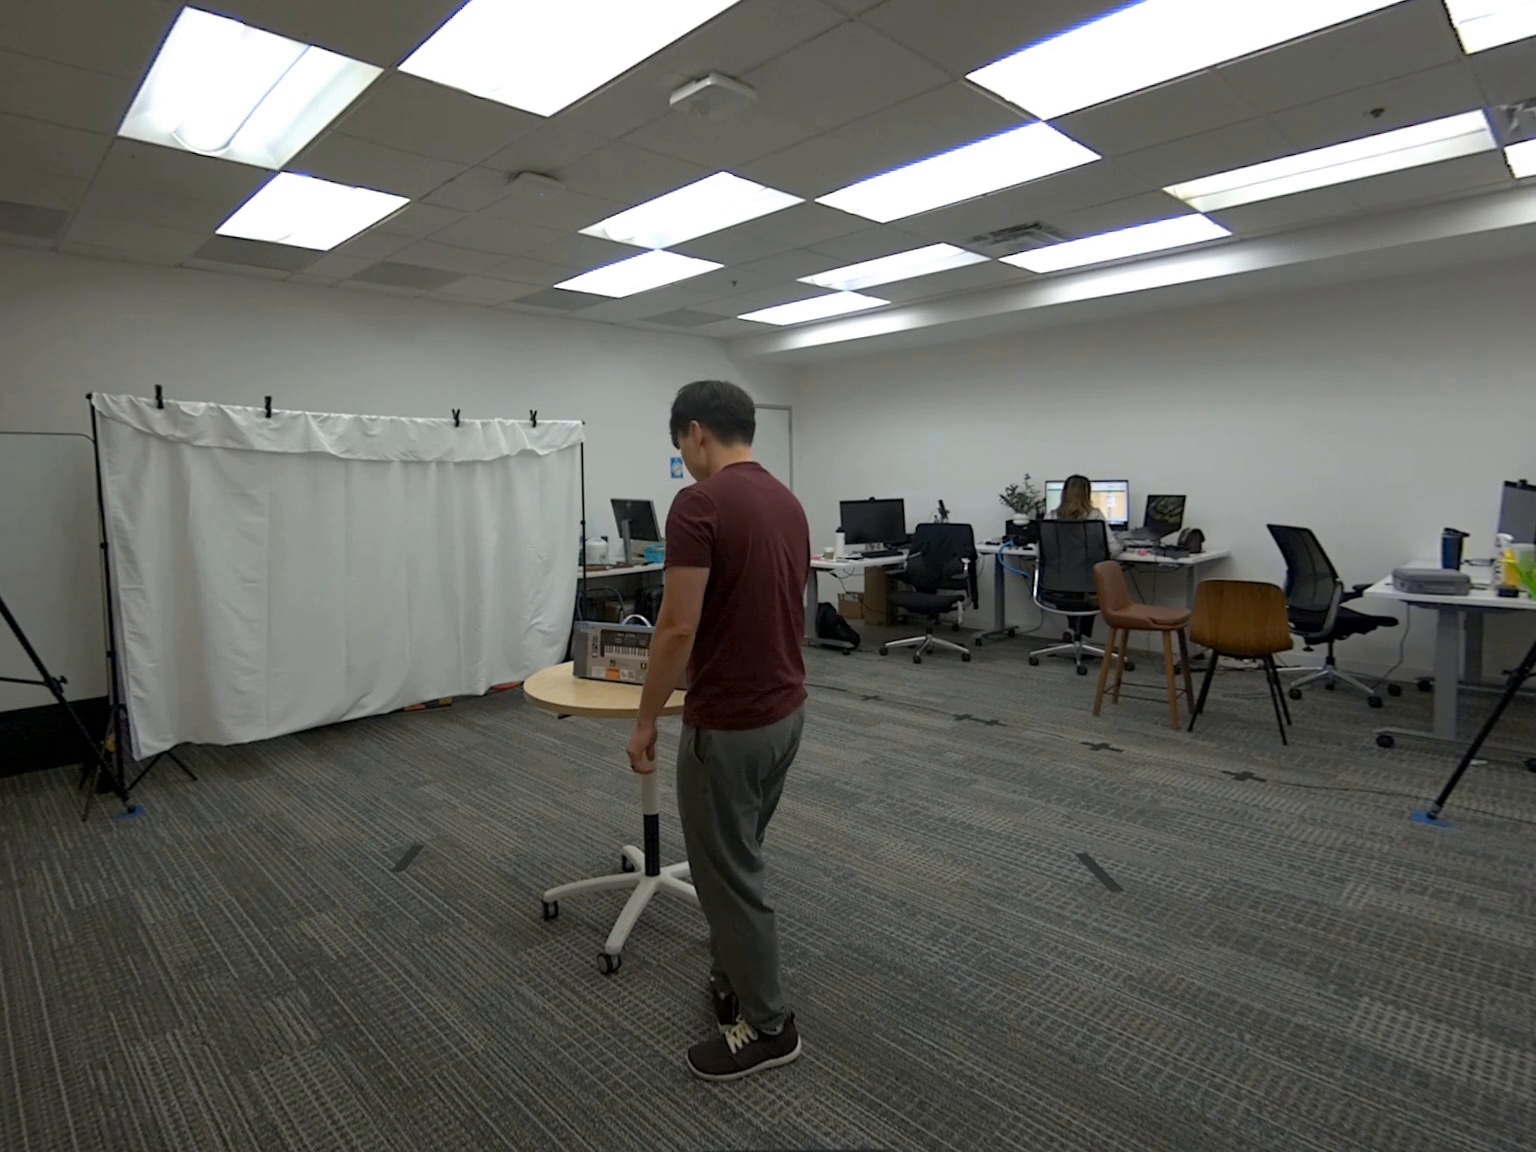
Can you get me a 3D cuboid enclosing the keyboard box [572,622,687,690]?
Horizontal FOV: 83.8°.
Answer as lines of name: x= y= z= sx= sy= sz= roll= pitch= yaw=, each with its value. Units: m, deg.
keyboard box: x=-0.410 y=0.243 z=2.627 sx=0.447 sy=0.176 sz=0.057 roll=2 pitch=-2 yaw=27
